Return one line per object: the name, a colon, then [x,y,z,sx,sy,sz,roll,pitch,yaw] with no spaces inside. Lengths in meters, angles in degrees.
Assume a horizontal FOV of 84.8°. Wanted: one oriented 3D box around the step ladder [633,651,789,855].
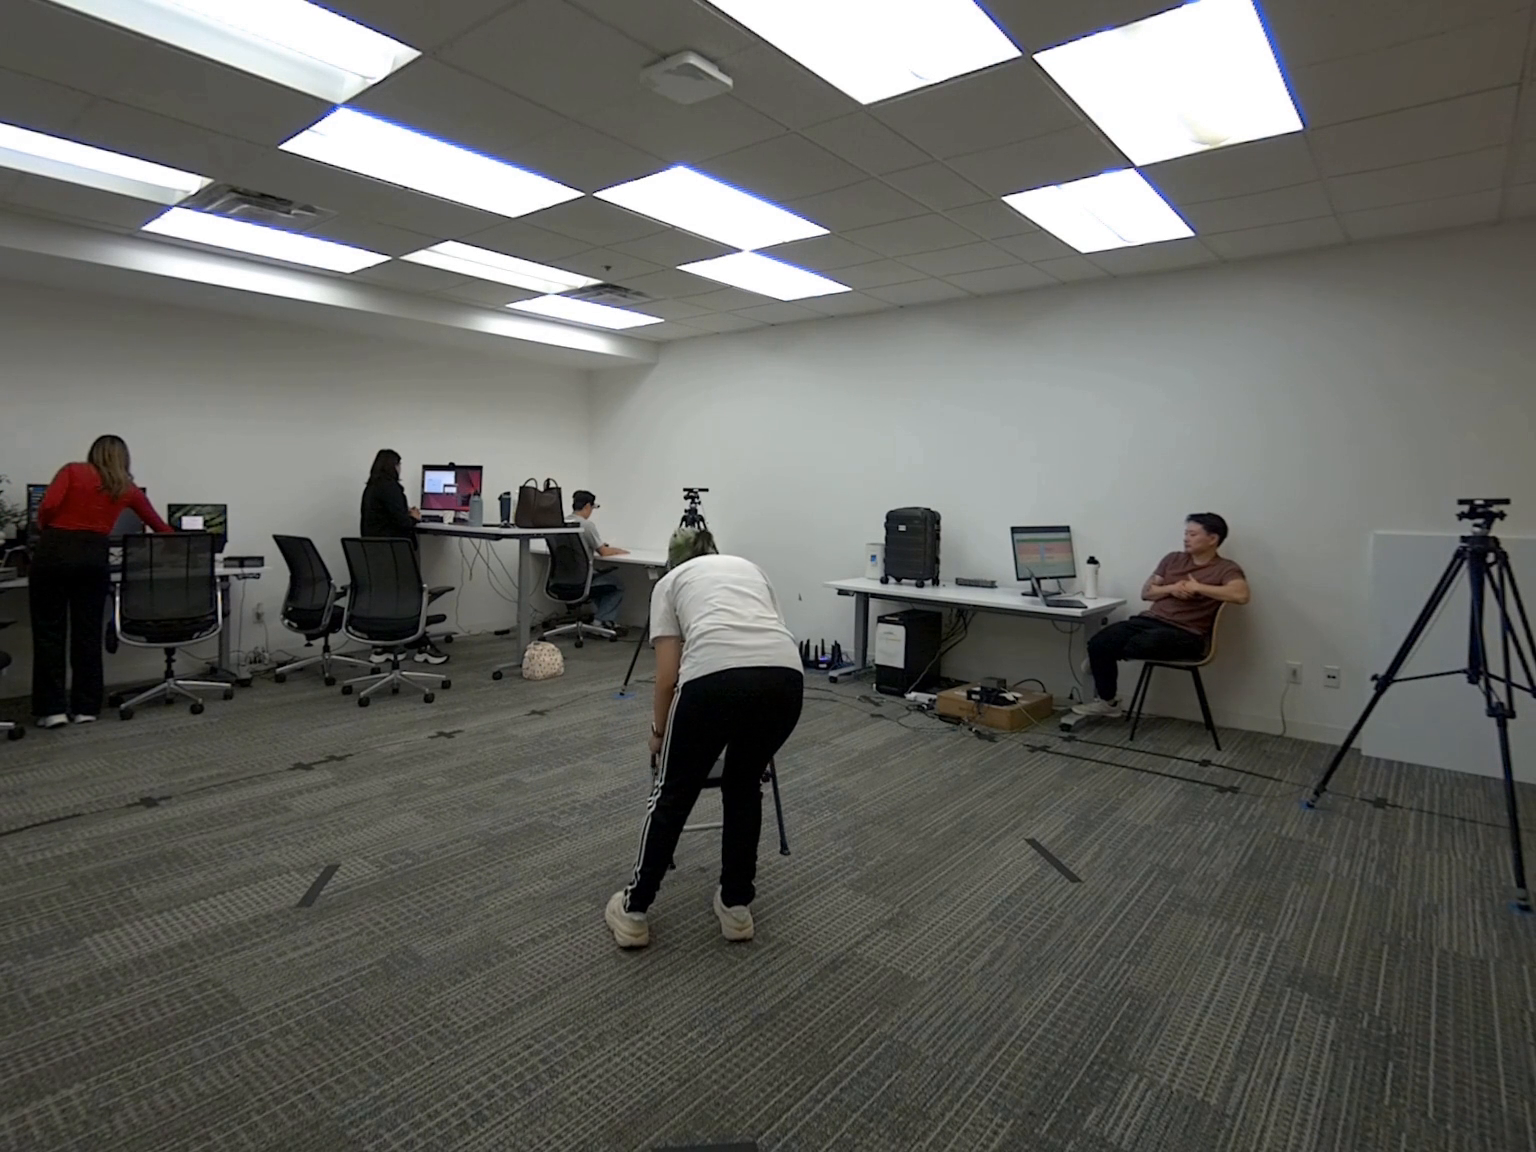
step ladder: [-0.192,0.625,2.950,0.422,0.607,0.355,0,-1,-19]
